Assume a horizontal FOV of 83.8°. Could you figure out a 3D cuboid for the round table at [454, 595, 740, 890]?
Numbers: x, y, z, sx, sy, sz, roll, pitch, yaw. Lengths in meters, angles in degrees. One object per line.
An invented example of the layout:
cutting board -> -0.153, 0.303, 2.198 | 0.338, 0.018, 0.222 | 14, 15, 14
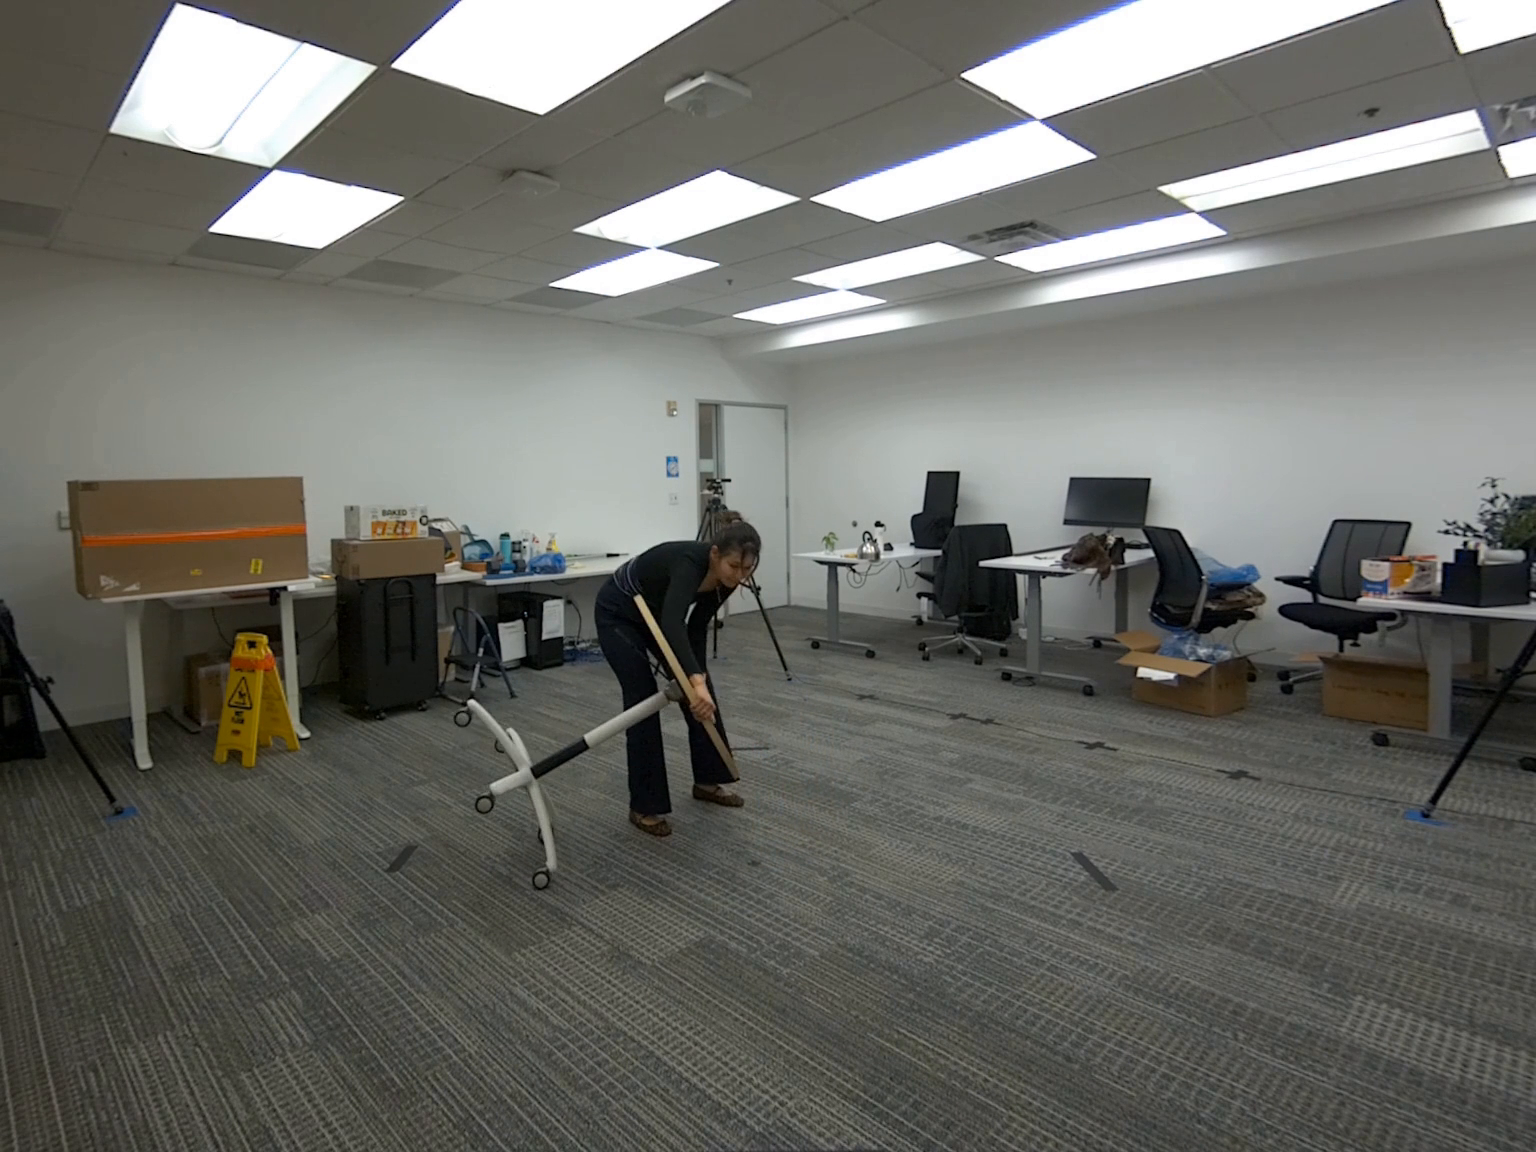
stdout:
round table -> -0.635, 0.609, 3.150 | 0.791, 0.756, 0.775 | -30, 10, -8
